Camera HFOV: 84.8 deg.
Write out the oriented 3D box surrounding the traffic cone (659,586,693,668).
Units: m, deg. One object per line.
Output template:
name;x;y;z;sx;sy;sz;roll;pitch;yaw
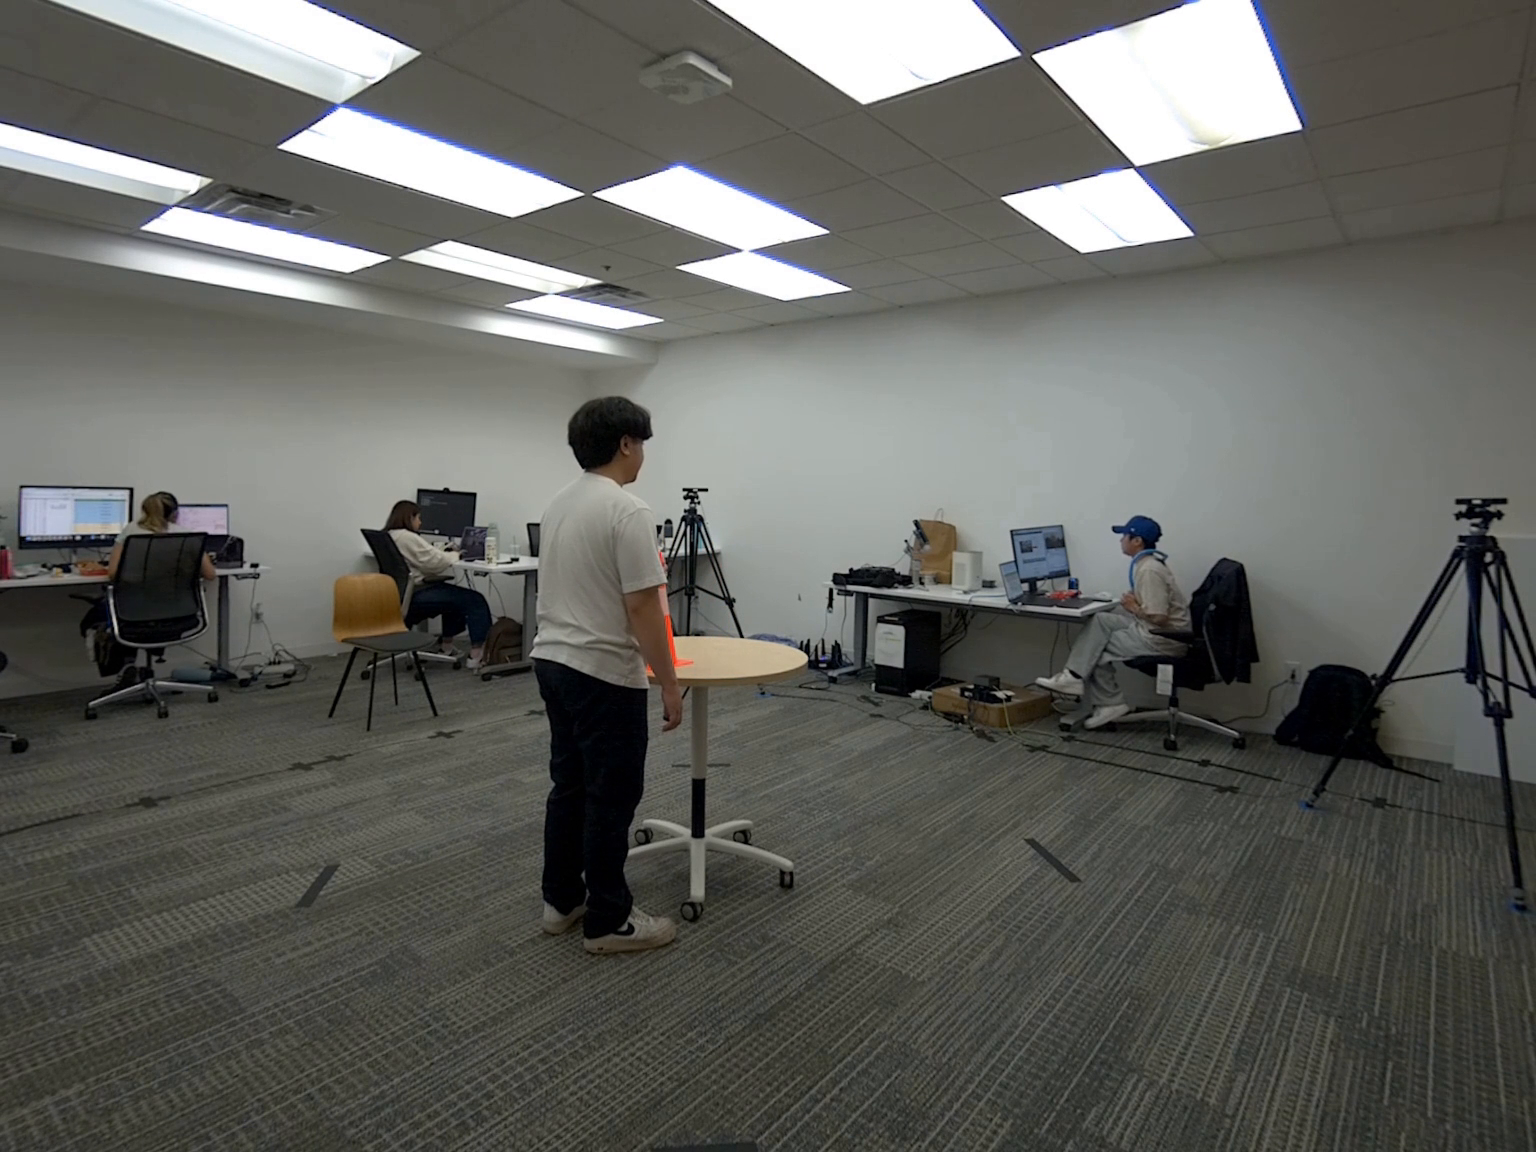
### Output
traffic cone;-0.390;0.109;2.875;0.209;0.382;0.200;2;6;20
